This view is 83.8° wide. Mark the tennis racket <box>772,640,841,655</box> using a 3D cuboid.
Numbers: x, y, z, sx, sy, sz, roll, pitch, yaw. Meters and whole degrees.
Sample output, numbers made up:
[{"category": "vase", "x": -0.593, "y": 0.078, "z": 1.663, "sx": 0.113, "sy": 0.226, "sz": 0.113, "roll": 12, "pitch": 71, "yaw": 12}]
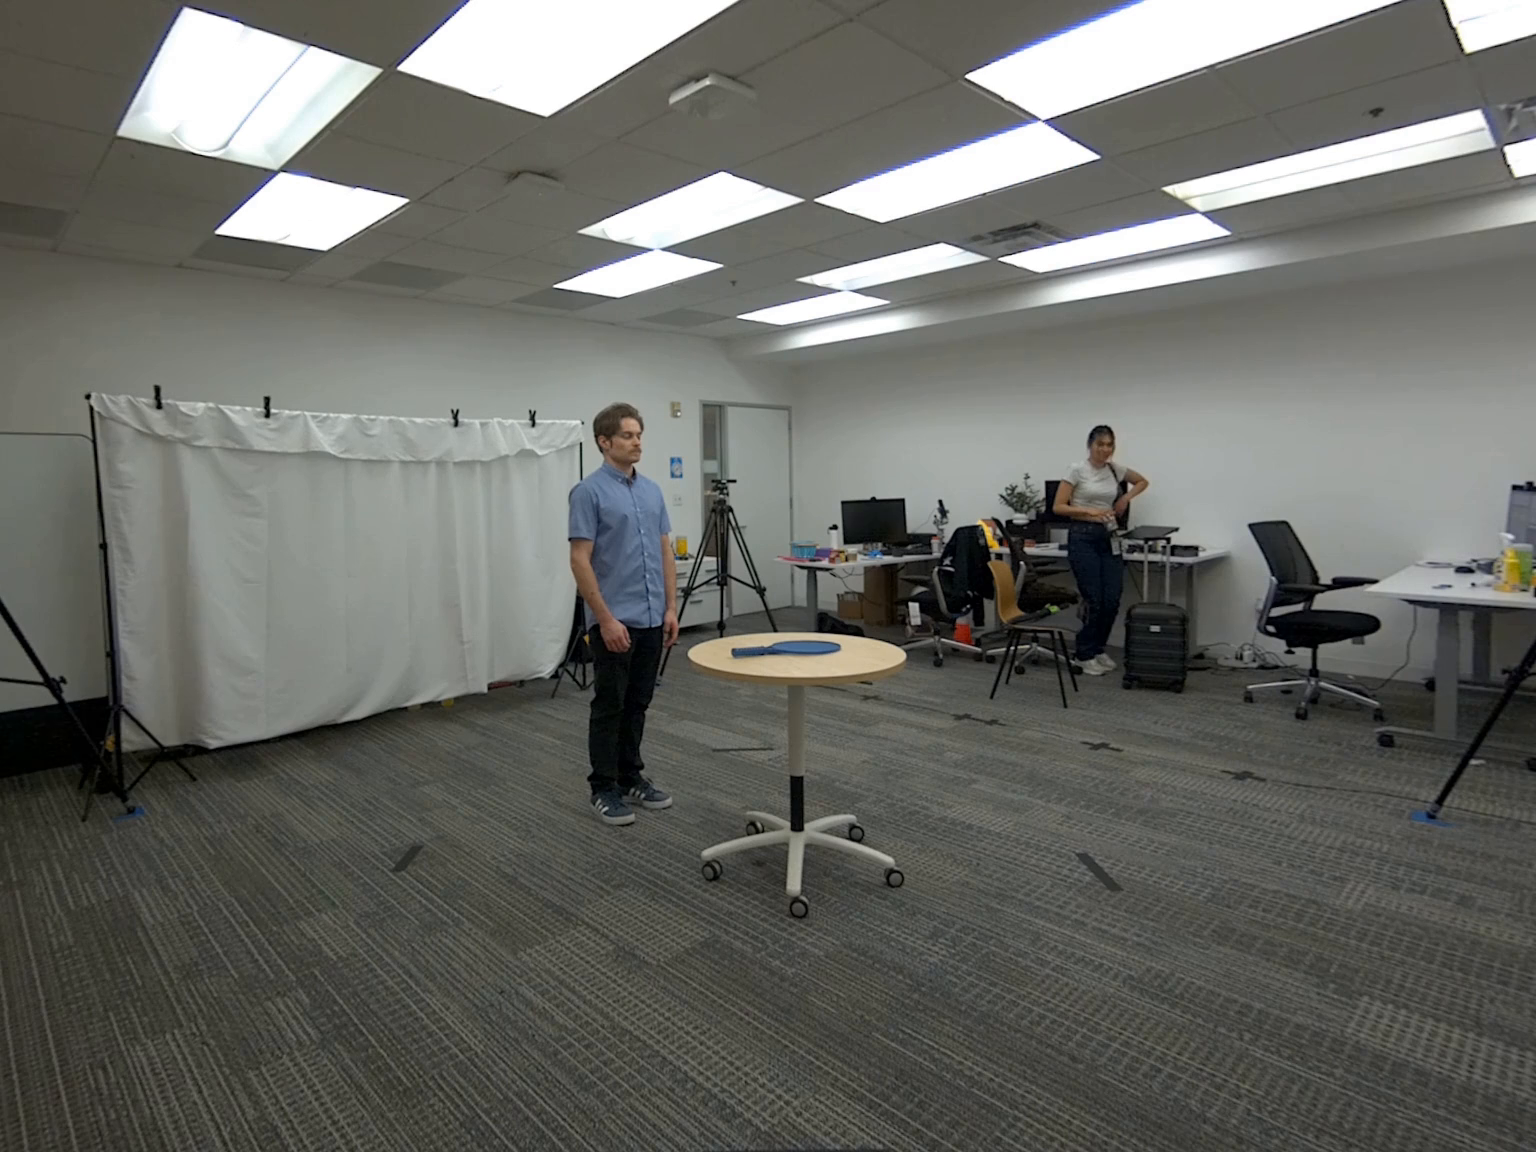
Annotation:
[{"category": "tennis racket", "x": 0.070, "y": 0.261, "z": 3.036, "sx": 0.422, "sy": 0.031, "sz": 0.220, "roll": -3, "pitch": 8, "yaw": -30}]
